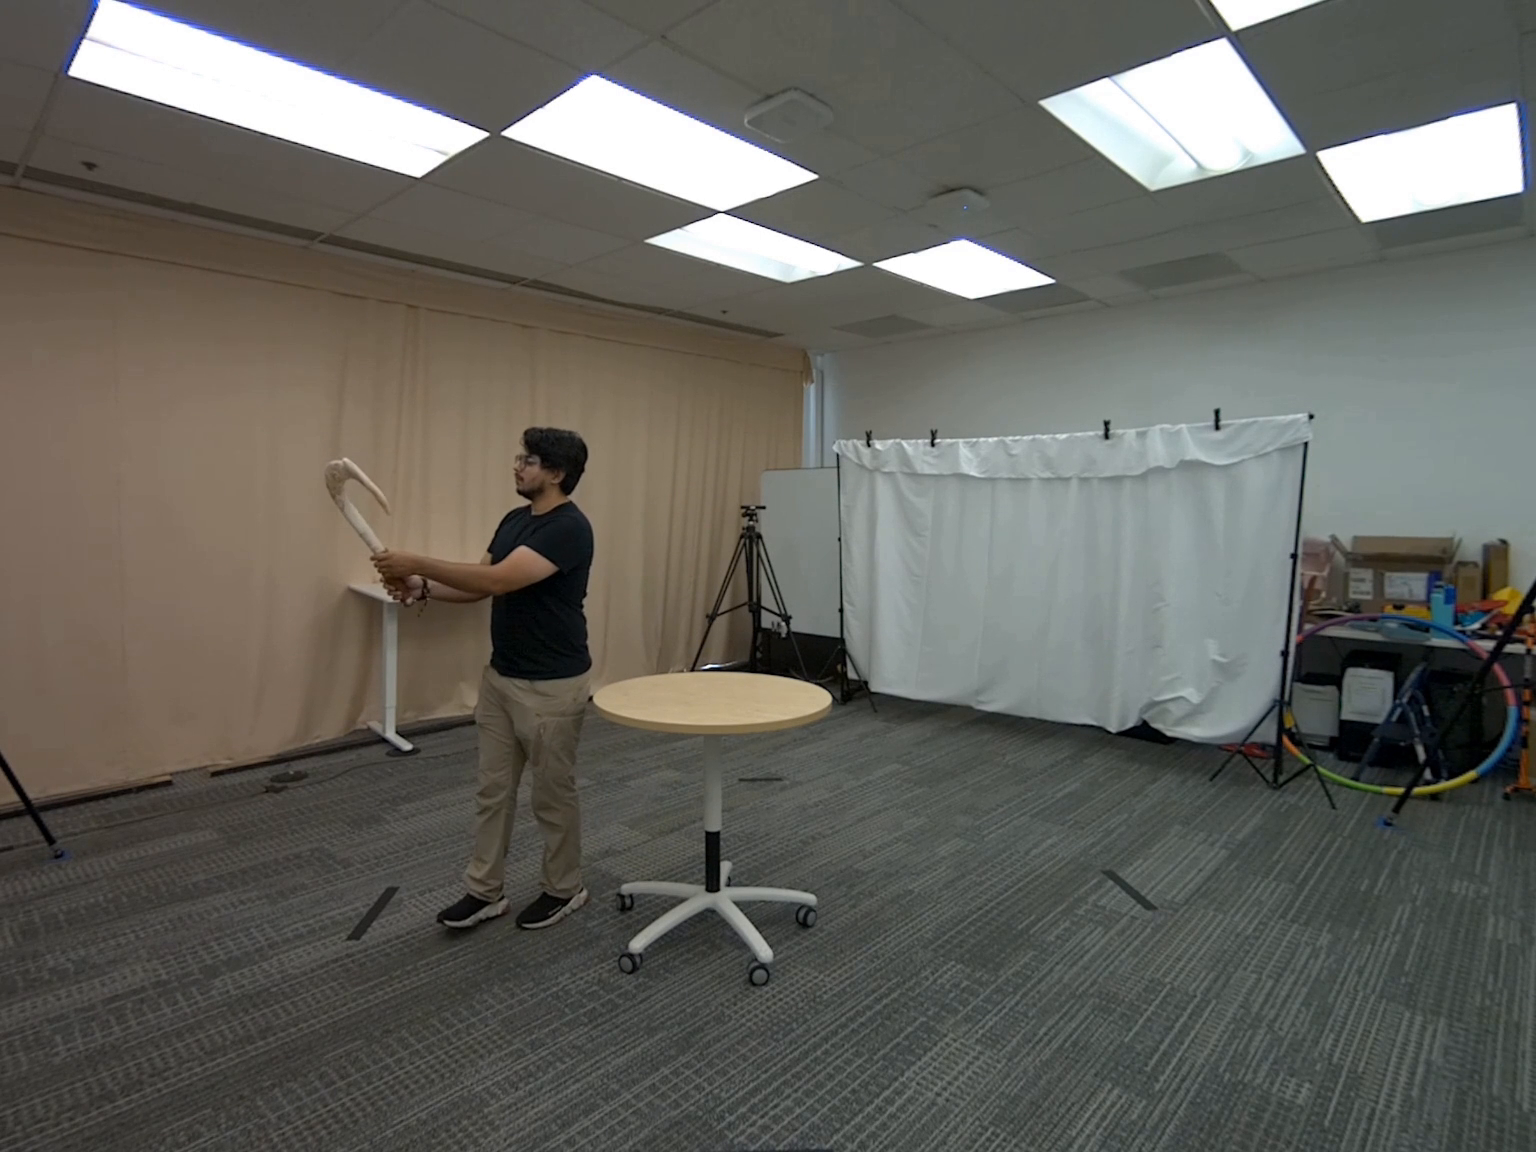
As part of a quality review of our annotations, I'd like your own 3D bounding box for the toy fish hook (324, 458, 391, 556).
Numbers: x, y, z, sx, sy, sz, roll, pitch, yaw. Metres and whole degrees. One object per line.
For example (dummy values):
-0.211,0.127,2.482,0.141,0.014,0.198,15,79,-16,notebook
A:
-1.175,-0.121,2.528,0.231,0.497,0.048,-2,28,37,toy fish hook
